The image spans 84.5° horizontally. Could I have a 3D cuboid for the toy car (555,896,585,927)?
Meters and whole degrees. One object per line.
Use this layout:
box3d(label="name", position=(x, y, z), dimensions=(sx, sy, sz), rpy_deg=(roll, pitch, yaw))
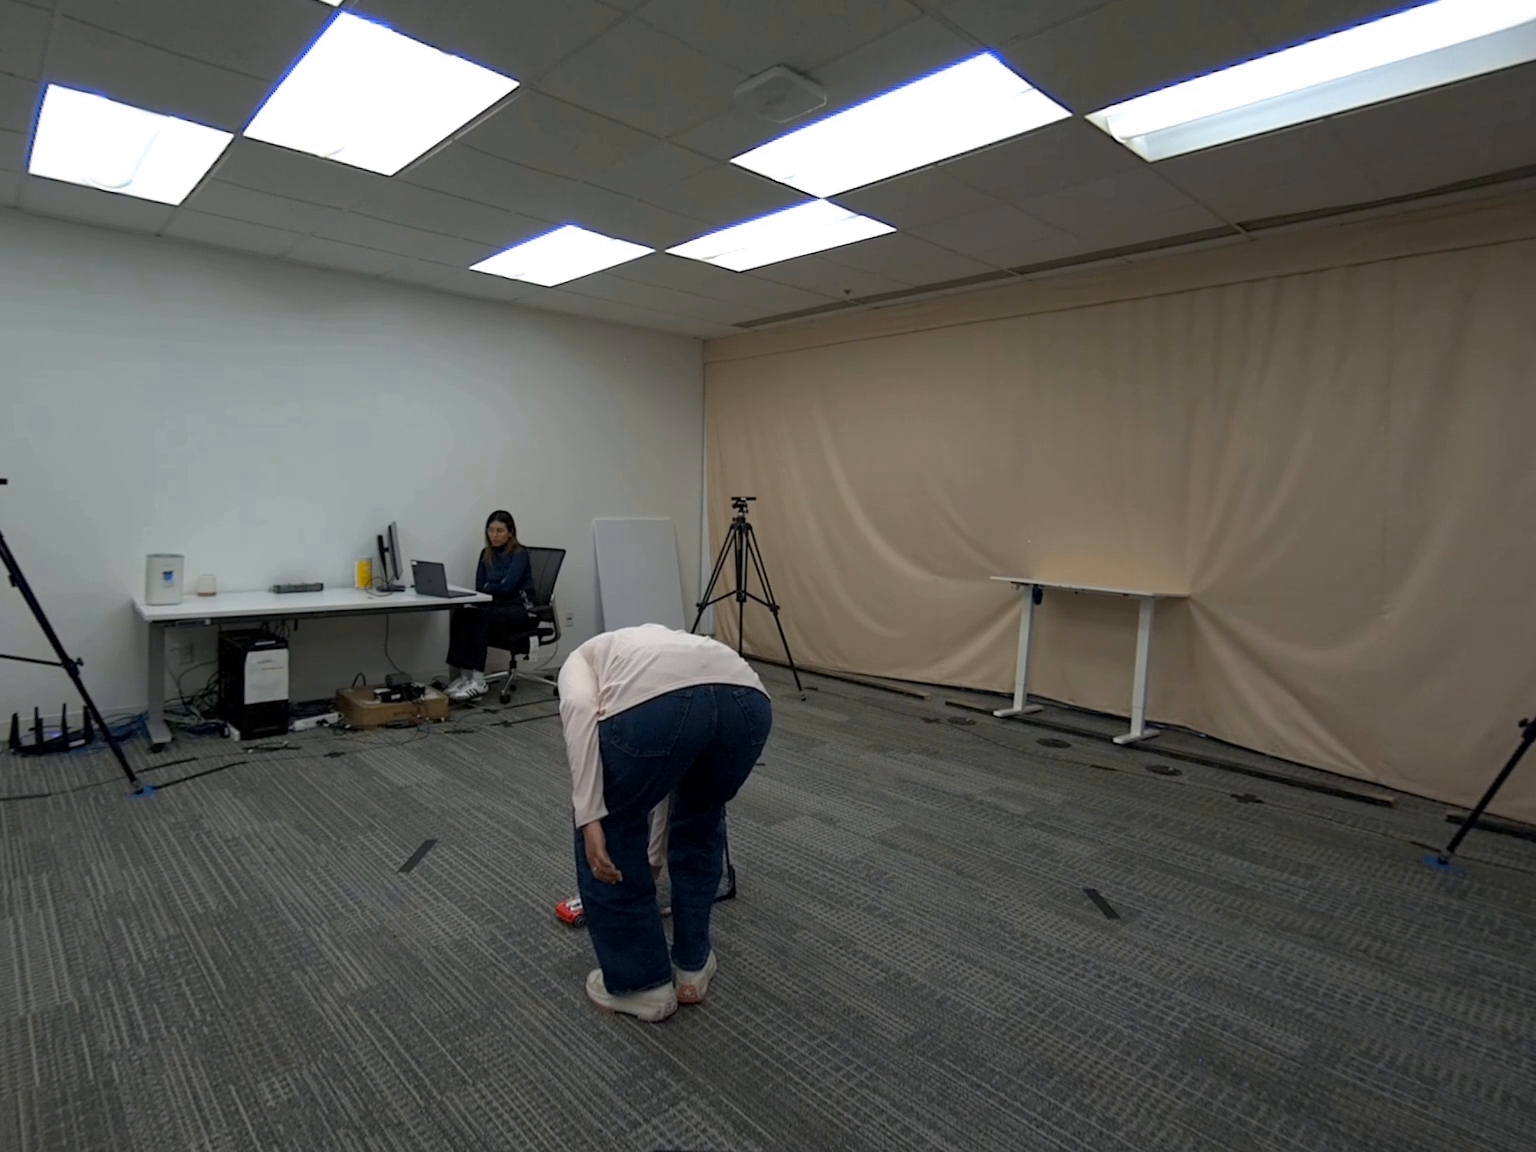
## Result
box3d(label="toy car", position=(-0.588, 1.100, 2.802), dimensions=(0.250, 0.082, 0.133), rpy_deg=(-17, 14, -42))
